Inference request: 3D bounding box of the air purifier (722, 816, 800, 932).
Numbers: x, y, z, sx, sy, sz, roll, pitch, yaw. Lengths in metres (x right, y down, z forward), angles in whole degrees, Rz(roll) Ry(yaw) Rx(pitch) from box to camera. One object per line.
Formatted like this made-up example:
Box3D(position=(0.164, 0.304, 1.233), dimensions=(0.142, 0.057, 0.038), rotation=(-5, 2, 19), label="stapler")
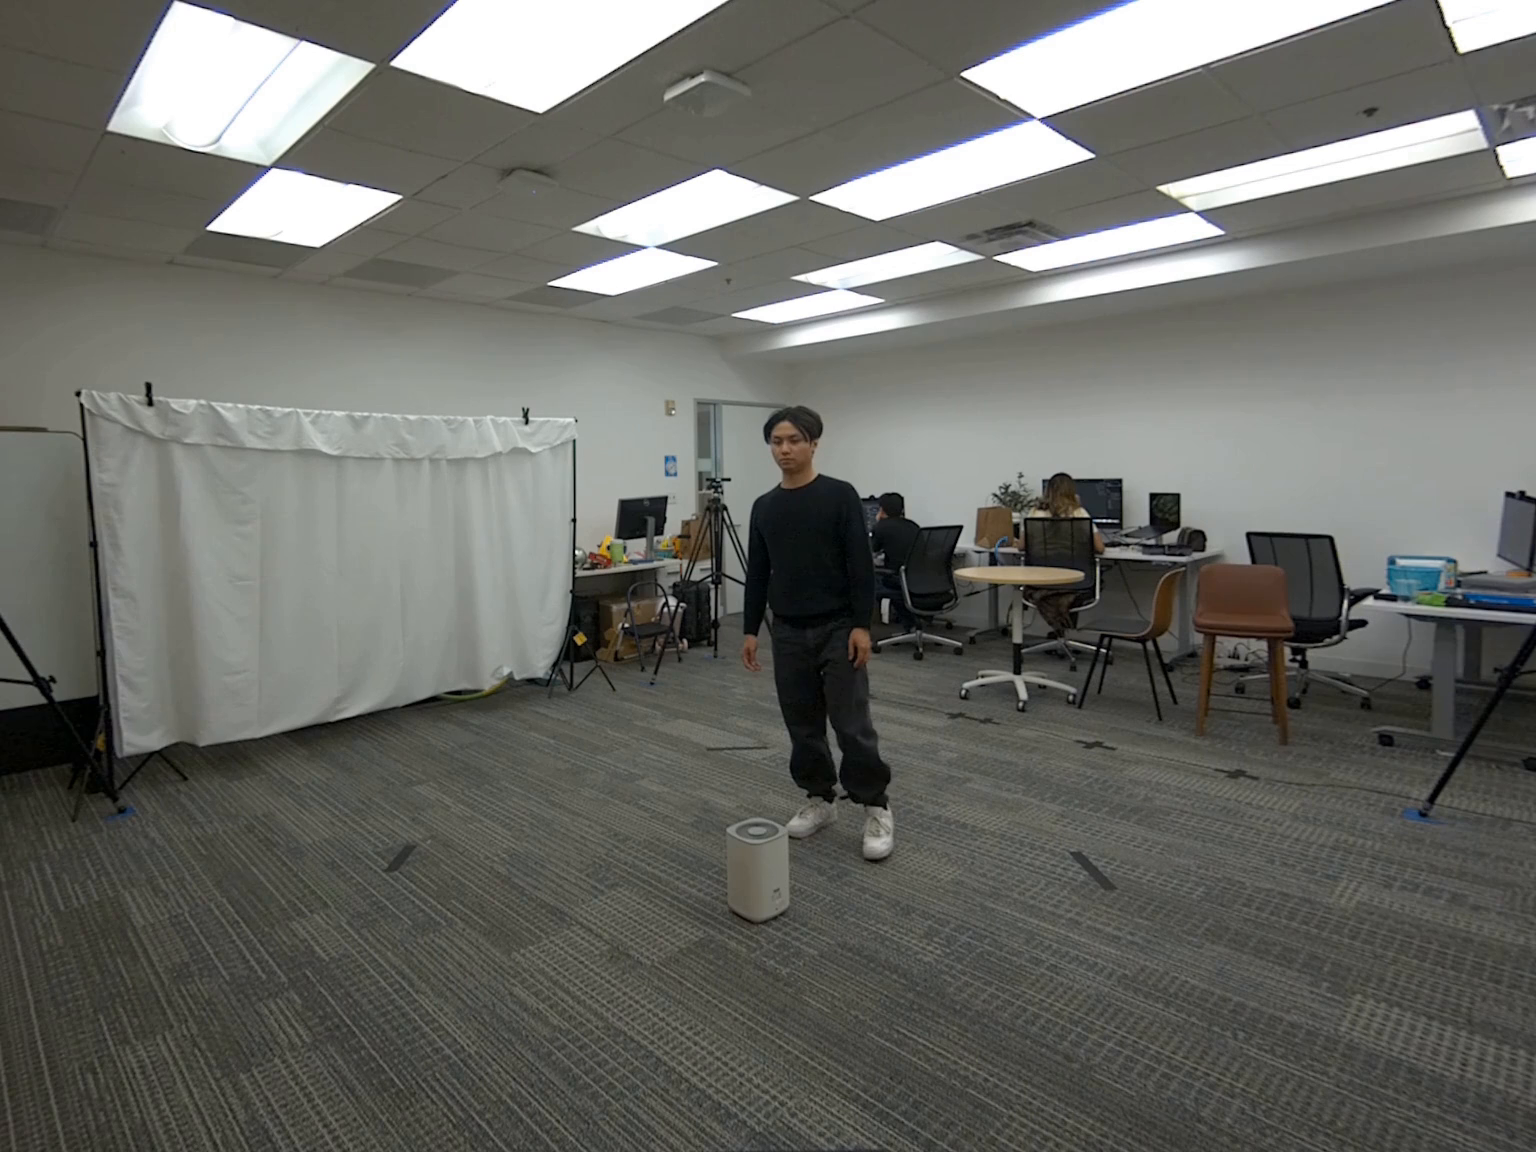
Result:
Box3D(position=(-0.024, 0.949, 2.757), dimensions=(0.166, 0.264, 0.177), rotation=(-5, 5, -43), label="air purifier")
